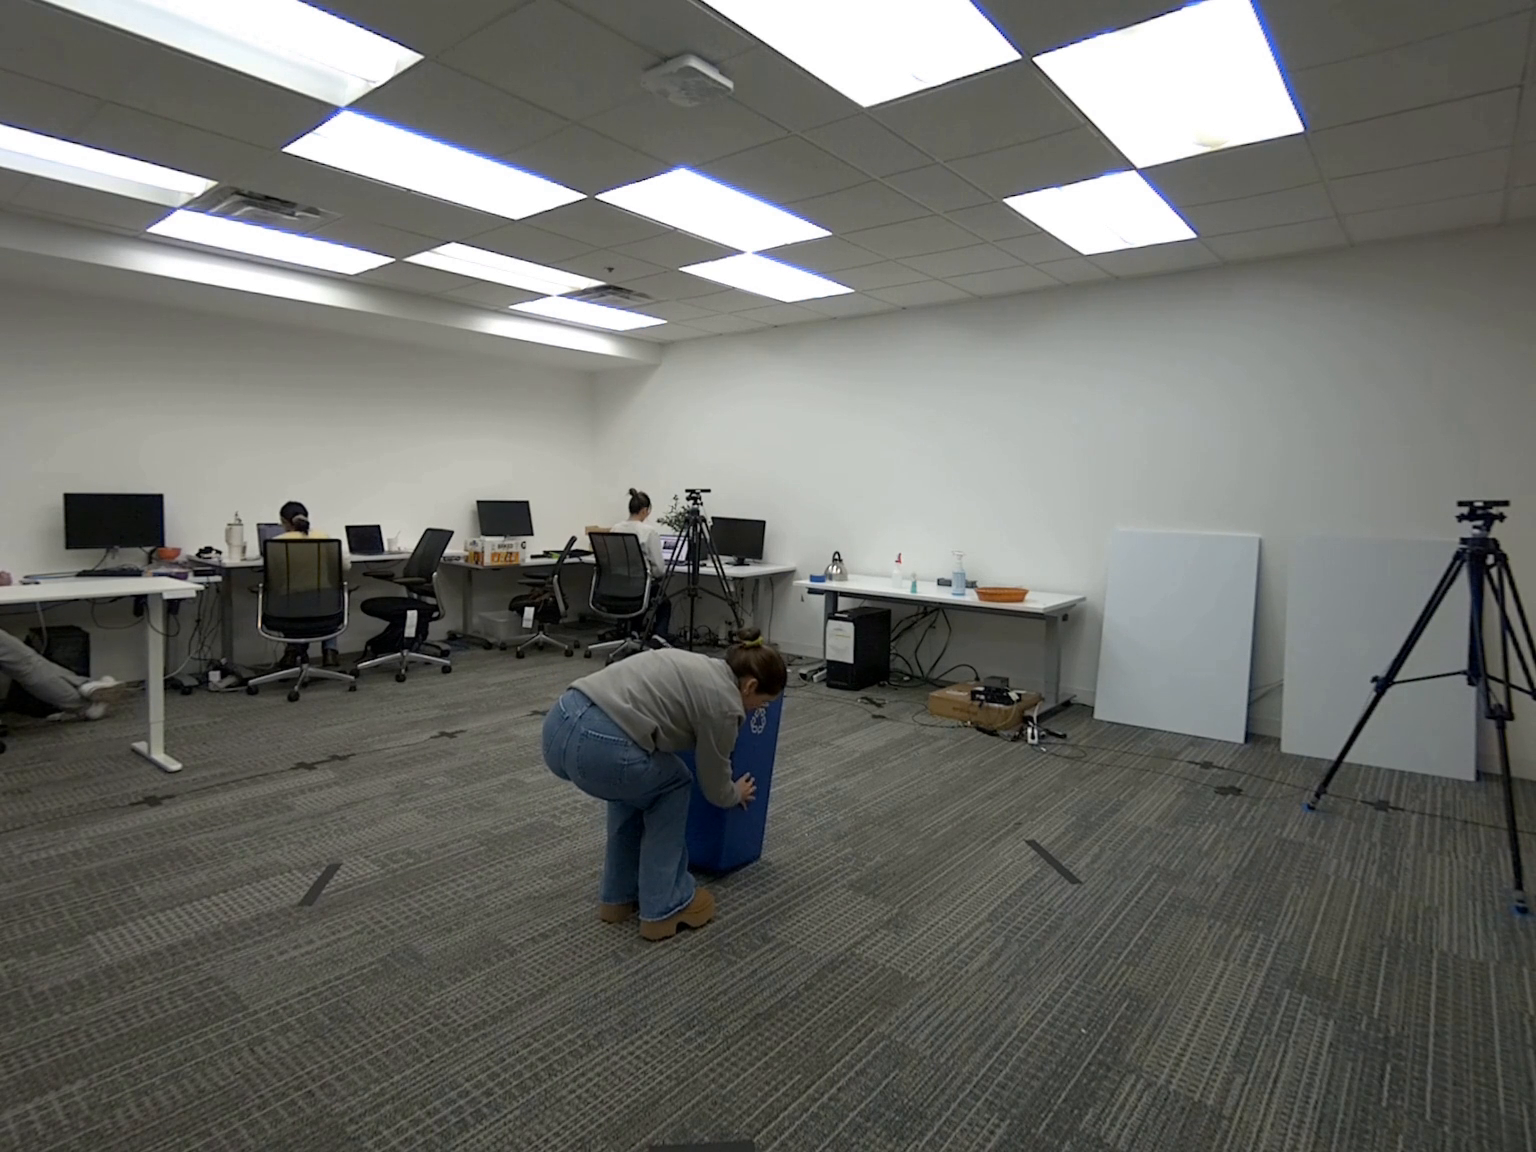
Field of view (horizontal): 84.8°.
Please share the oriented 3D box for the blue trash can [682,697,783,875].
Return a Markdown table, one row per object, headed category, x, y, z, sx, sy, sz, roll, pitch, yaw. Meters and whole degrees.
| category | x | y | z | sx | sy | sz | roll | pitch | yaw |
| --- | --- | --- | --- | --- | --- | --- | --- | --- | --- |
| blue trash can | -0.195 | 0.684 | 3.233 | 0.390 | 0.717 | 0.361 | 4 | -6 | 32 |
